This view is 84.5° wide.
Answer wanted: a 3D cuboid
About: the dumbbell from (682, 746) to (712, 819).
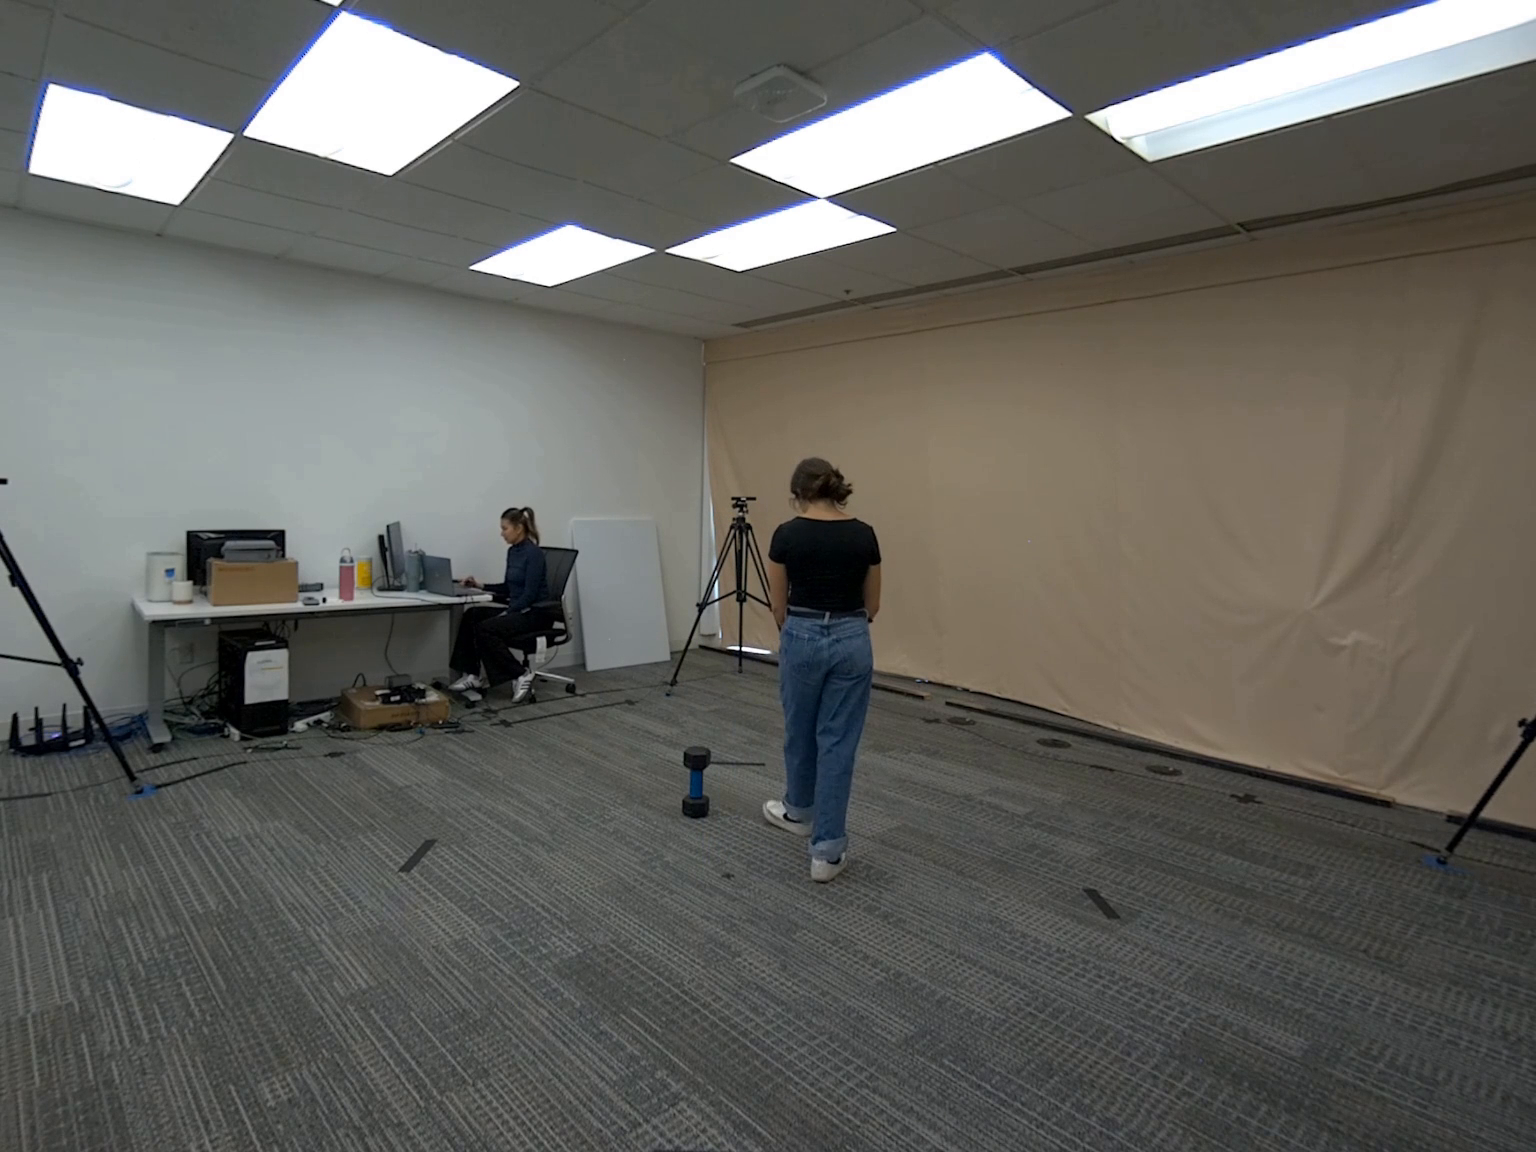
[{"bbox_3d":[-0.323,0.906,3.700,0.121,0.293,0.110,1,4,-14],"label":"dumbbell"}]
